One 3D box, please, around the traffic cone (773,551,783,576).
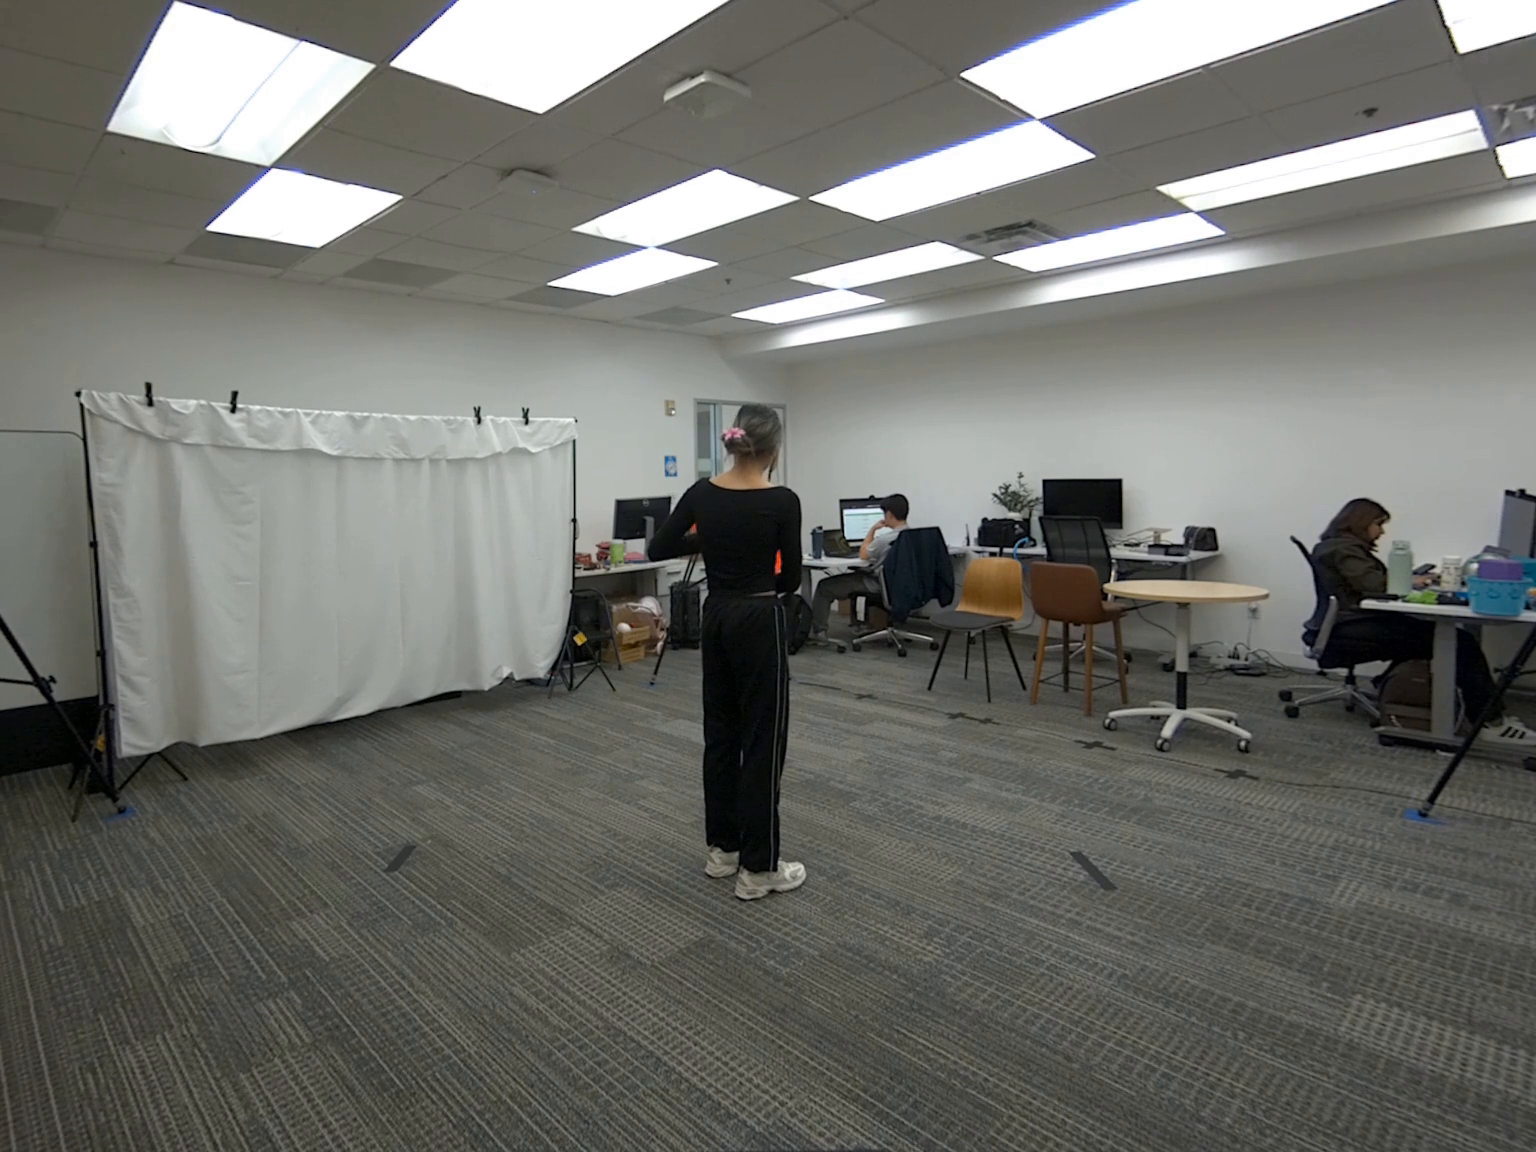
[{"bbox_3d":[-0.130,-0.143,3.201,0.393,0.205,0.198,18,-21,20],"label":"traffic cone"}]
